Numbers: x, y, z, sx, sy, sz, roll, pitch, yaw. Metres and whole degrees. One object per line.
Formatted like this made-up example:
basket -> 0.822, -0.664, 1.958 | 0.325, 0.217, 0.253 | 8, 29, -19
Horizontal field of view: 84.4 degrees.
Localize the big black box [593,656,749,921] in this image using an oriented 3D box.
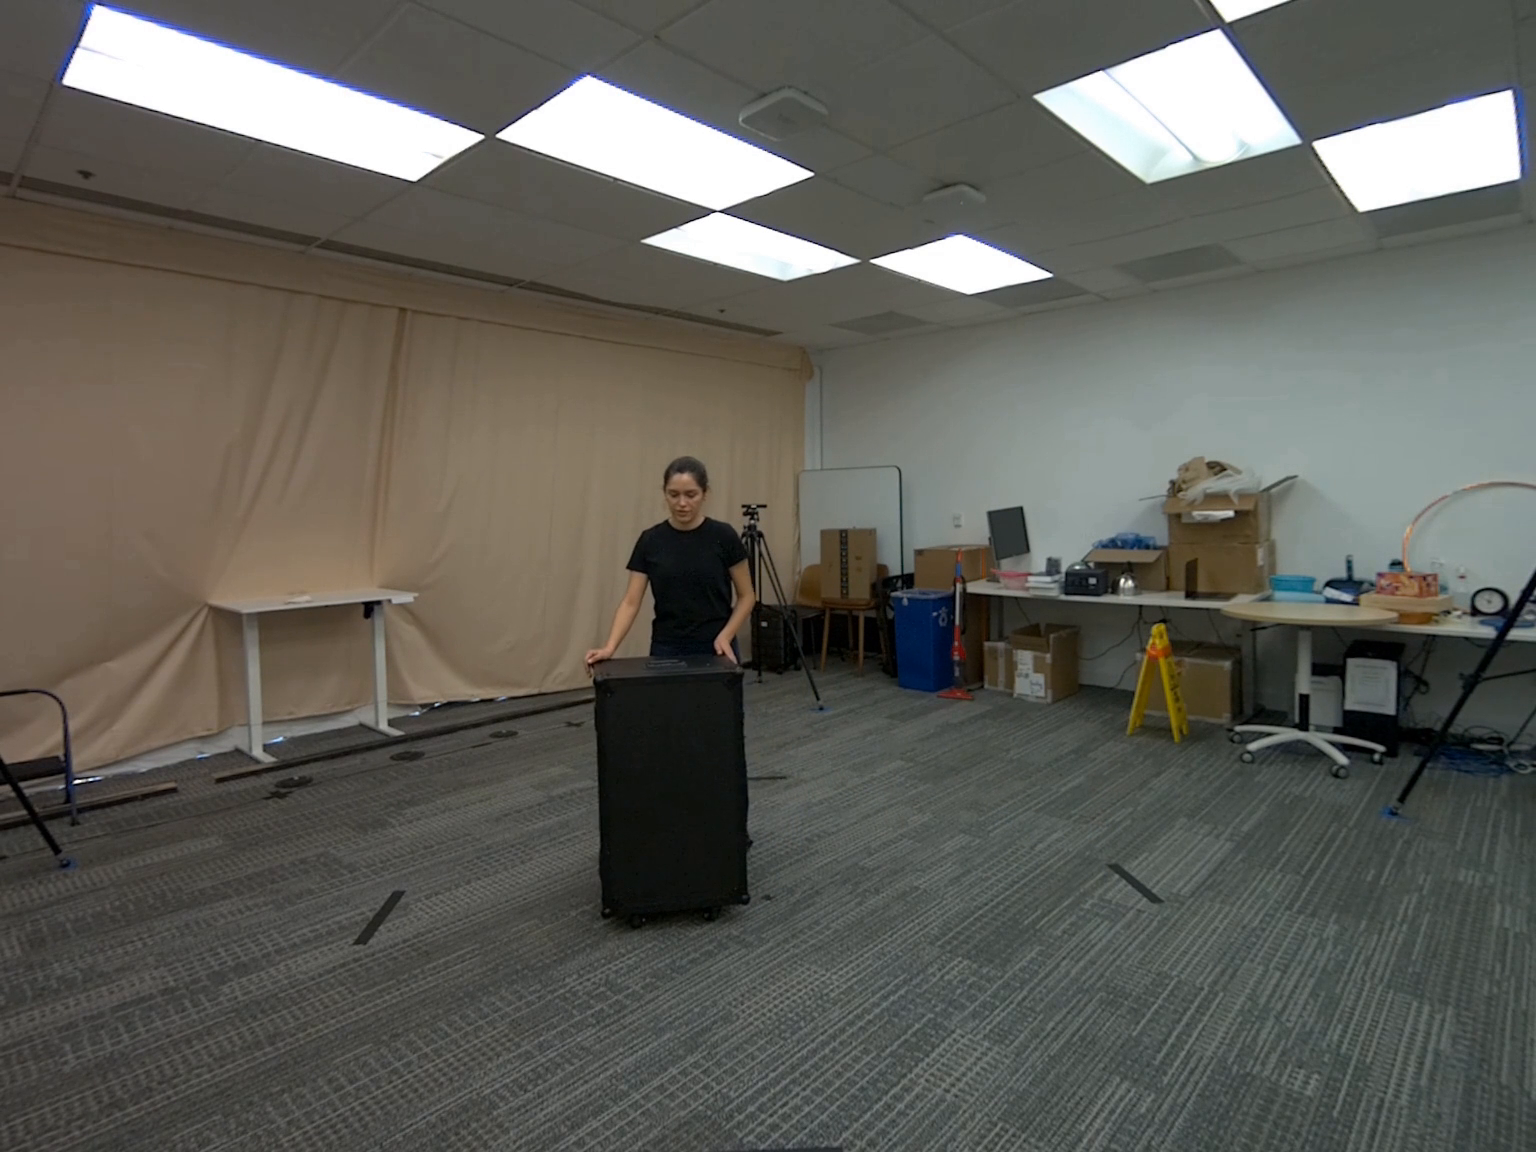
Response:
big black box -> -0.345, 0.723, 2.918 | 0.516, 0.860, 0.401 | -2, 3, -10
